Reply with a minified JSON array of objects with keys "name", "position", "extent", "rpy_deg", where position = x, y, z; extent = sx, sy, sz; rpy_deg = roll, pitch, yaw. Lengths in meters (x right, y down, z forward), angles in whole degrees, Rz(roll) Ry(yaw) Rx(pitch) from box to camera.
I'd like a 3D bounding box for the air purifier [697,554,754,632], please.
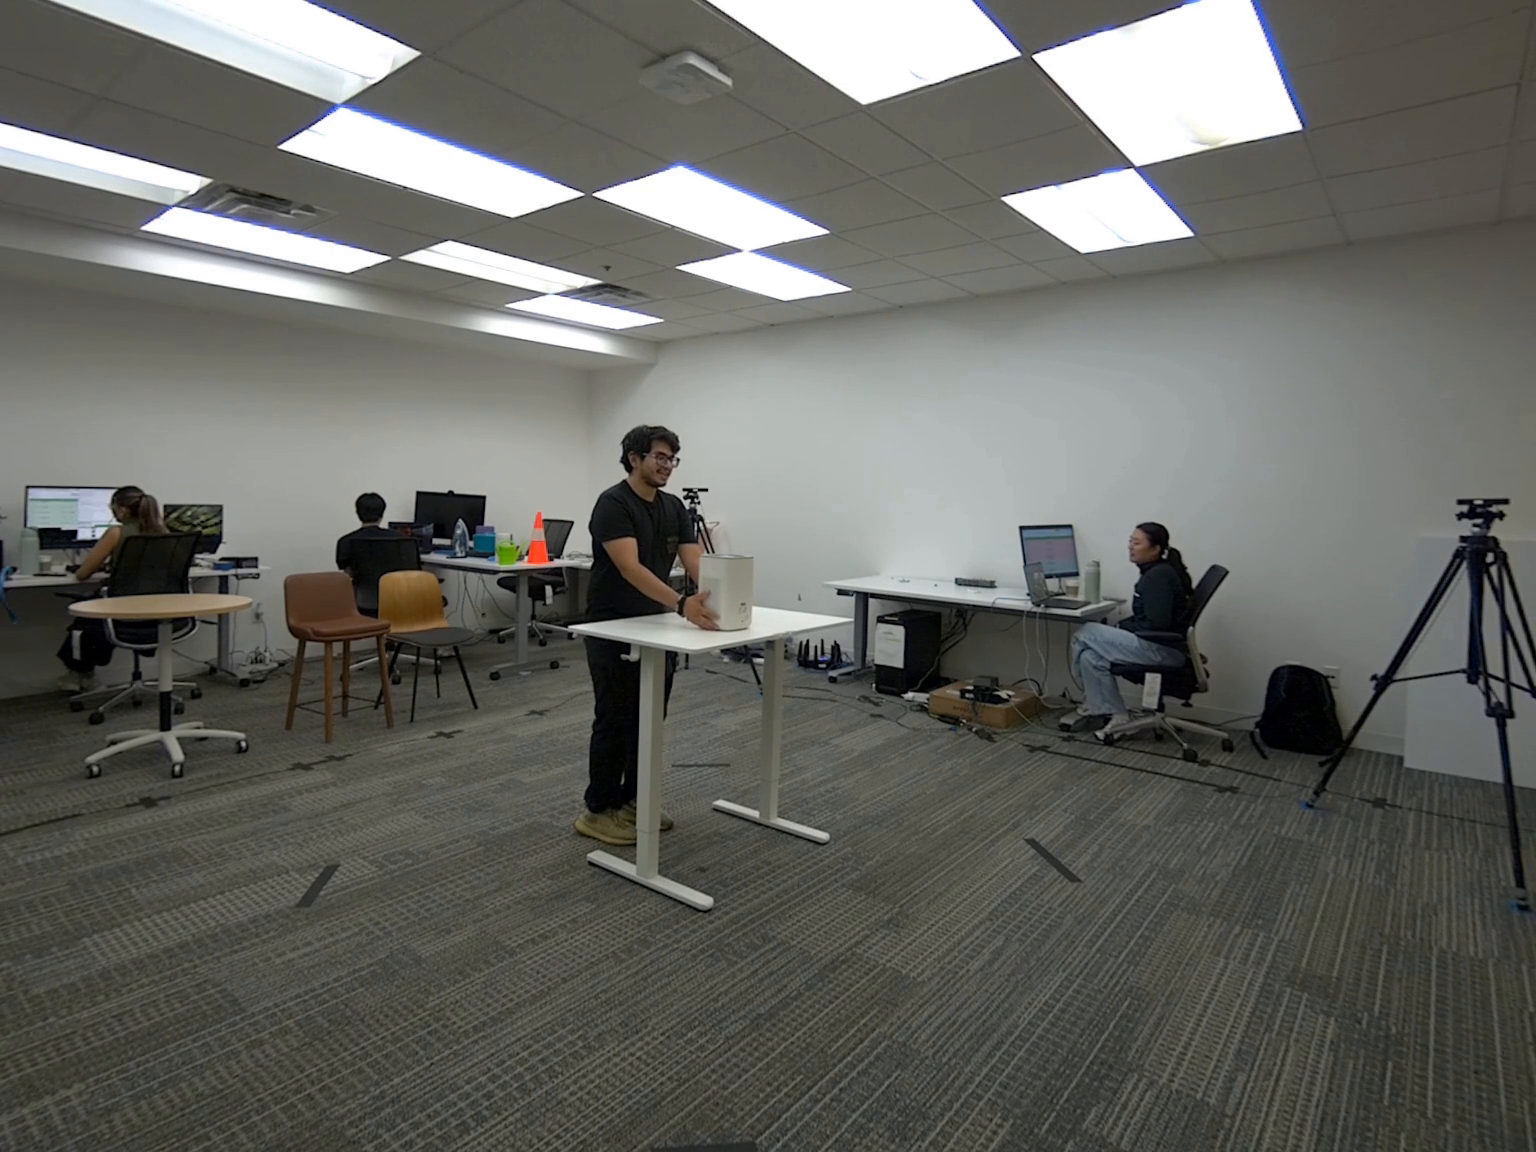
[{"name":"air purifier","position":[-0.165,0.053,3.106],"extent":[0.177,0.265,0.166],"rpy_deg":[4,3,38]}]
